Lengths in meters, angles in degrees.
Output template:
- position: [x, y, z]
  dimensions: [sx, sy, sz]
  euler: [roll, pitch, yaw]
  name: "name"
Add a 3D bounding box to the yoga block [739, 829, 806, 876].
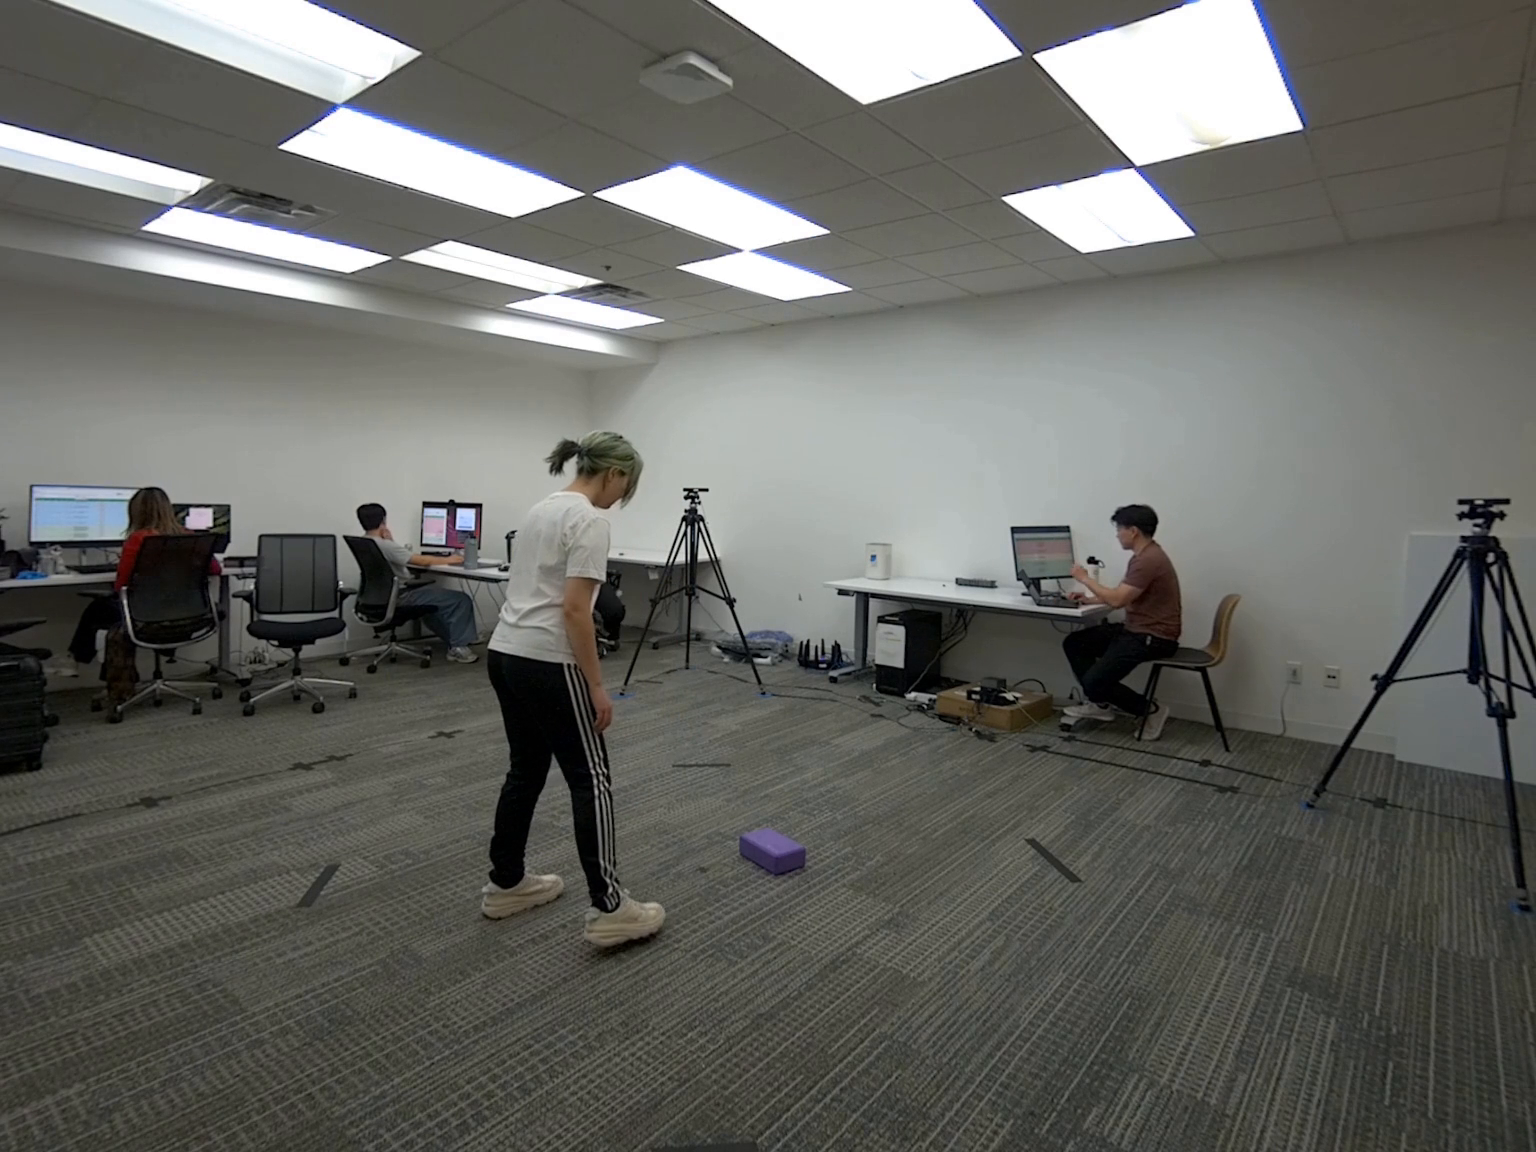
- position: [0.009, 1.025, 3.192]
  dimensions: [0.144, 0.076, 0.237]
  euler: [-1, 5, -37]
  name: "yoga block"
